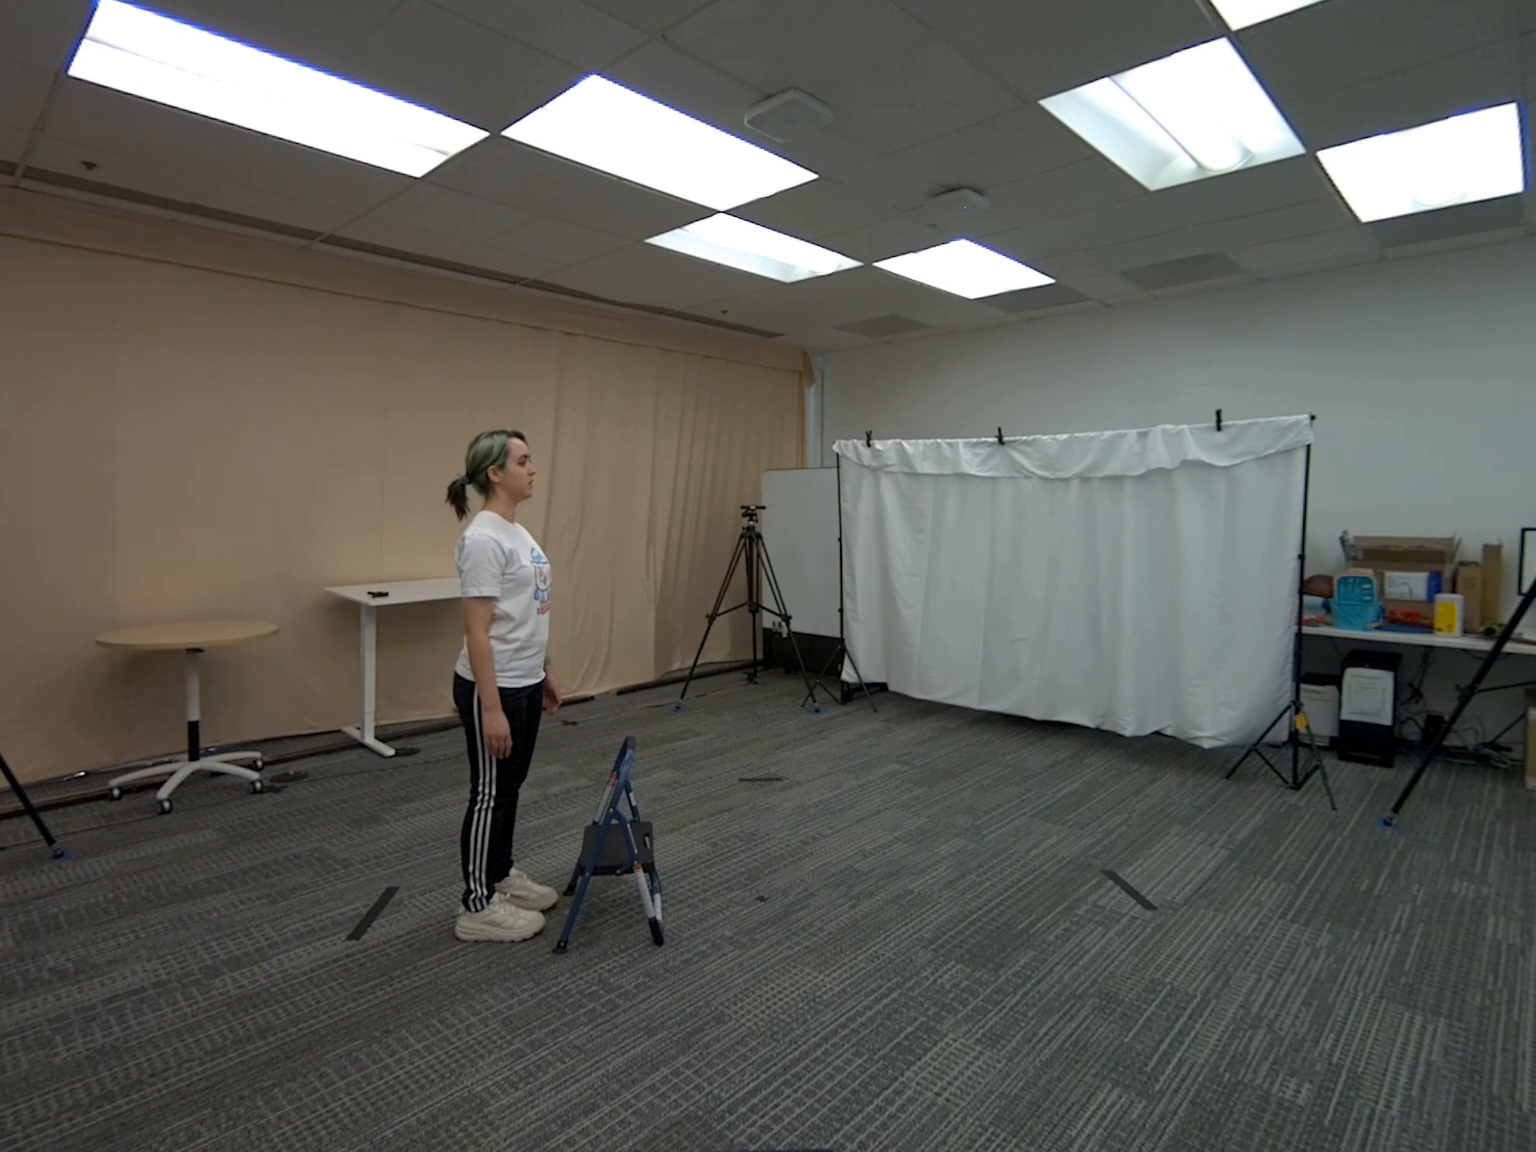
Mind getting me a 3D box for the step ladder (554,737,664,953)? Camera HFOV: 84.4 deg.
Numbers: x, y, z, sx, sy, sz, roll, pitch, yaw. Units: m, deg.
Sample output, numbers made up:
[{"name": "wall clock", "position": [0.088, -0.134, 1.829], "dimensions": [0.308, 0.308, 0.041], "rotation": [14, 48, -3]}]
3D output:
[{"name": "step ladder", "position": [-0.534, 0.863, 2.832], "dimensions": [0.346, 0.605, 0.435], "rotation": [-1, 3, -9]}]
